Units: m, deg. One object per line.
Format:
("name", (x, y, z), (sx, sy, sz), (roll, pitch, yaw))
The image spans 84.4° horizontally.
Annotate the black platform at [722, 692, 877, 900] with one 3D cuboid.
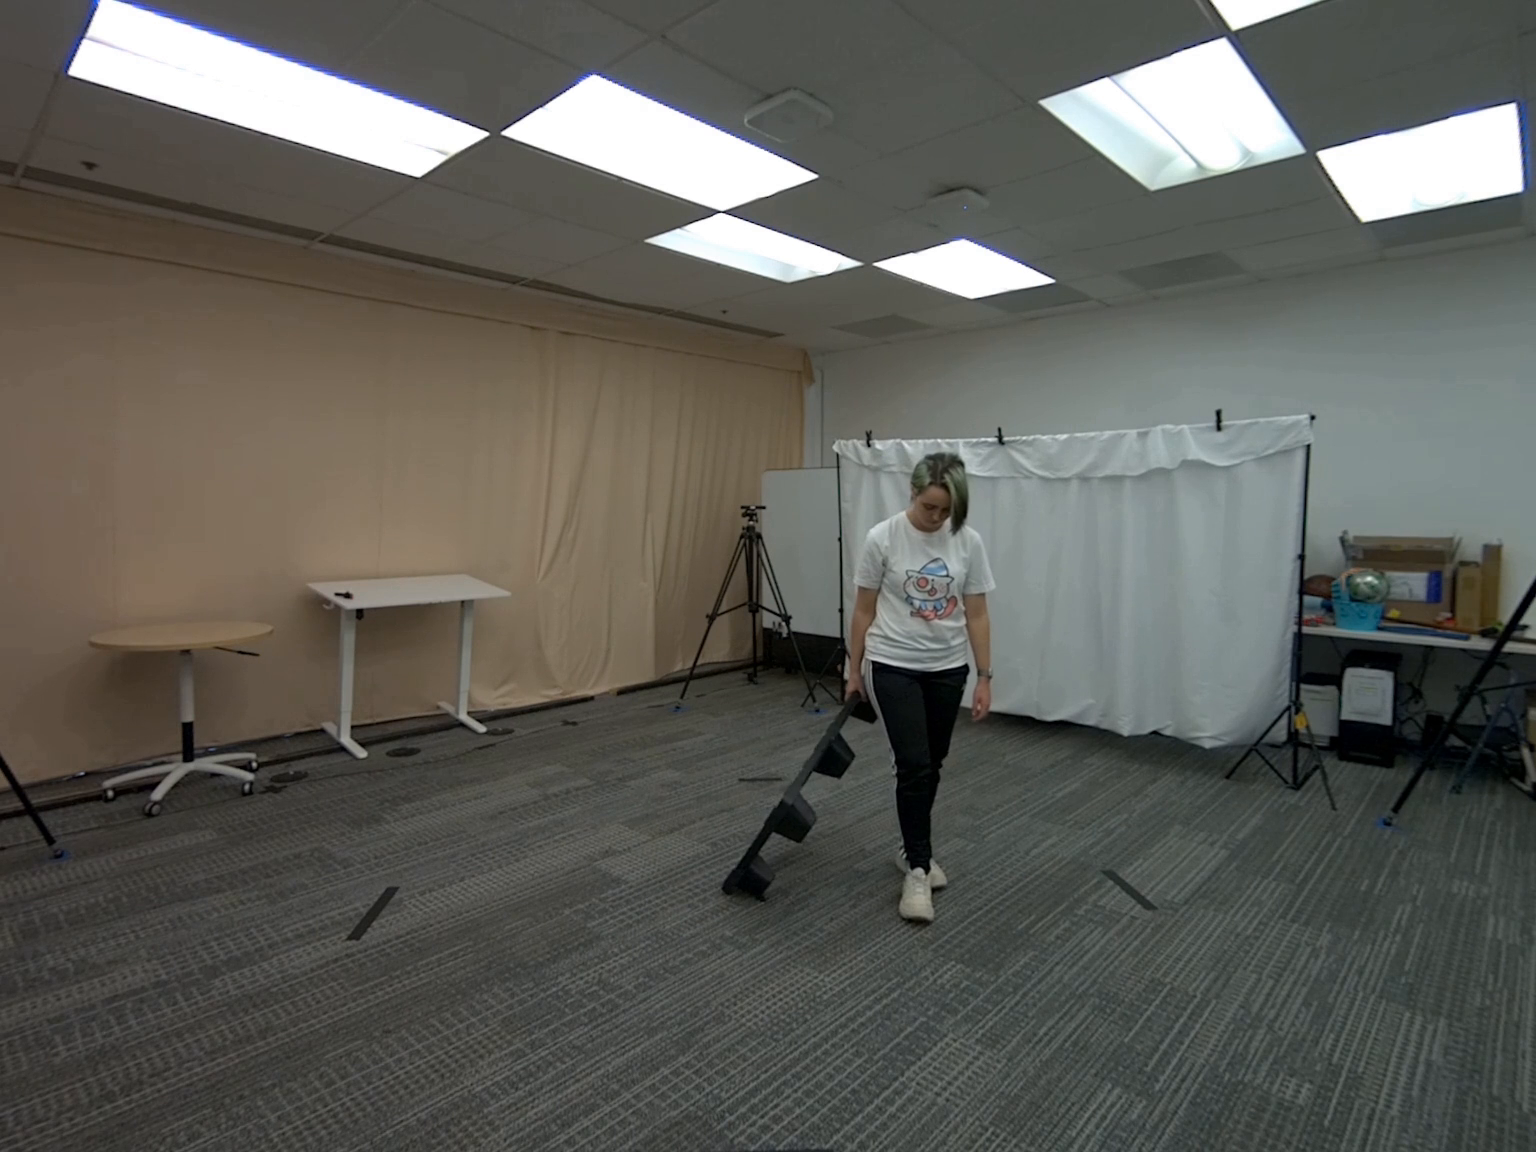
("black platform", (0.163, 0.782, 3.131), (0.145, 0.603, 0.796), (34, 38, 9))
